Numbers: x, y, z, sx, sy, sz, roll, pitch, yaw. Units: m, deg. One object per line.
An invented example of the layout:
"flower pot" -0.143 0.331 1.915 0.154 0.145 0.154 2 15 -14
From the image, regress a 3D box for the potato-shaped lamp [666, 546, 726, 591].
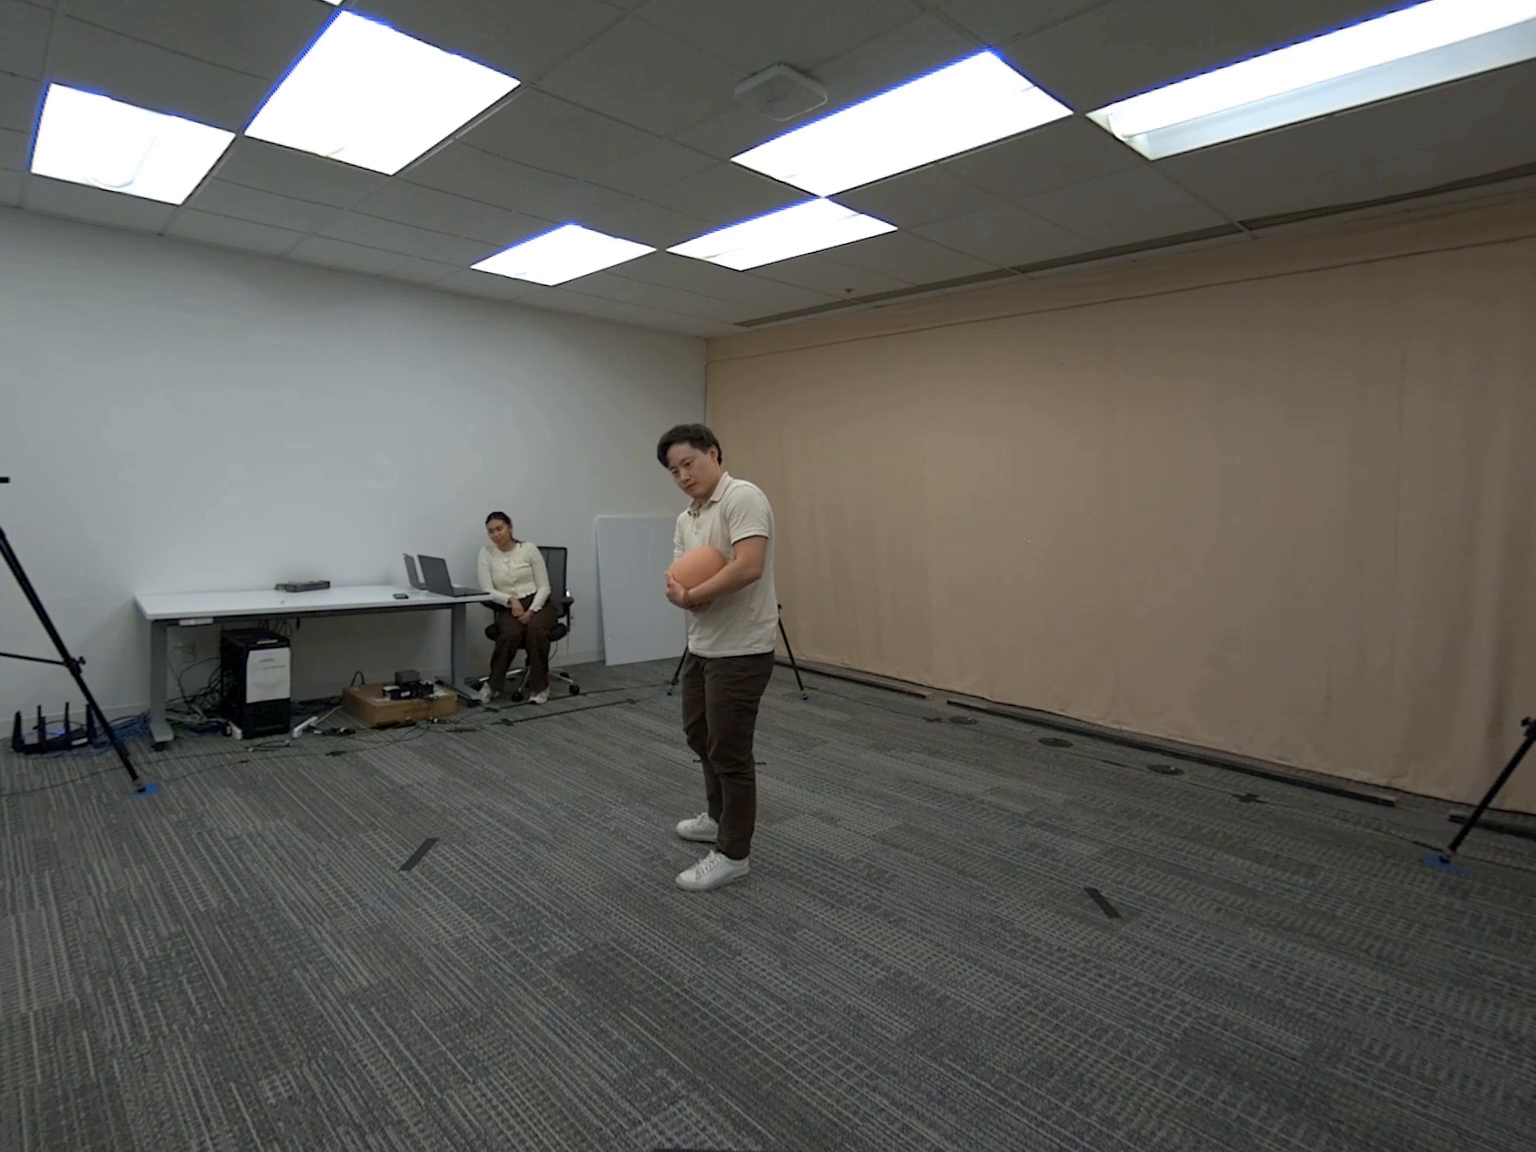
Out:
"potato-shaped lamp" -0.240 -0.014 2.857 0.160 0.198 0.177 48 -6 -36
